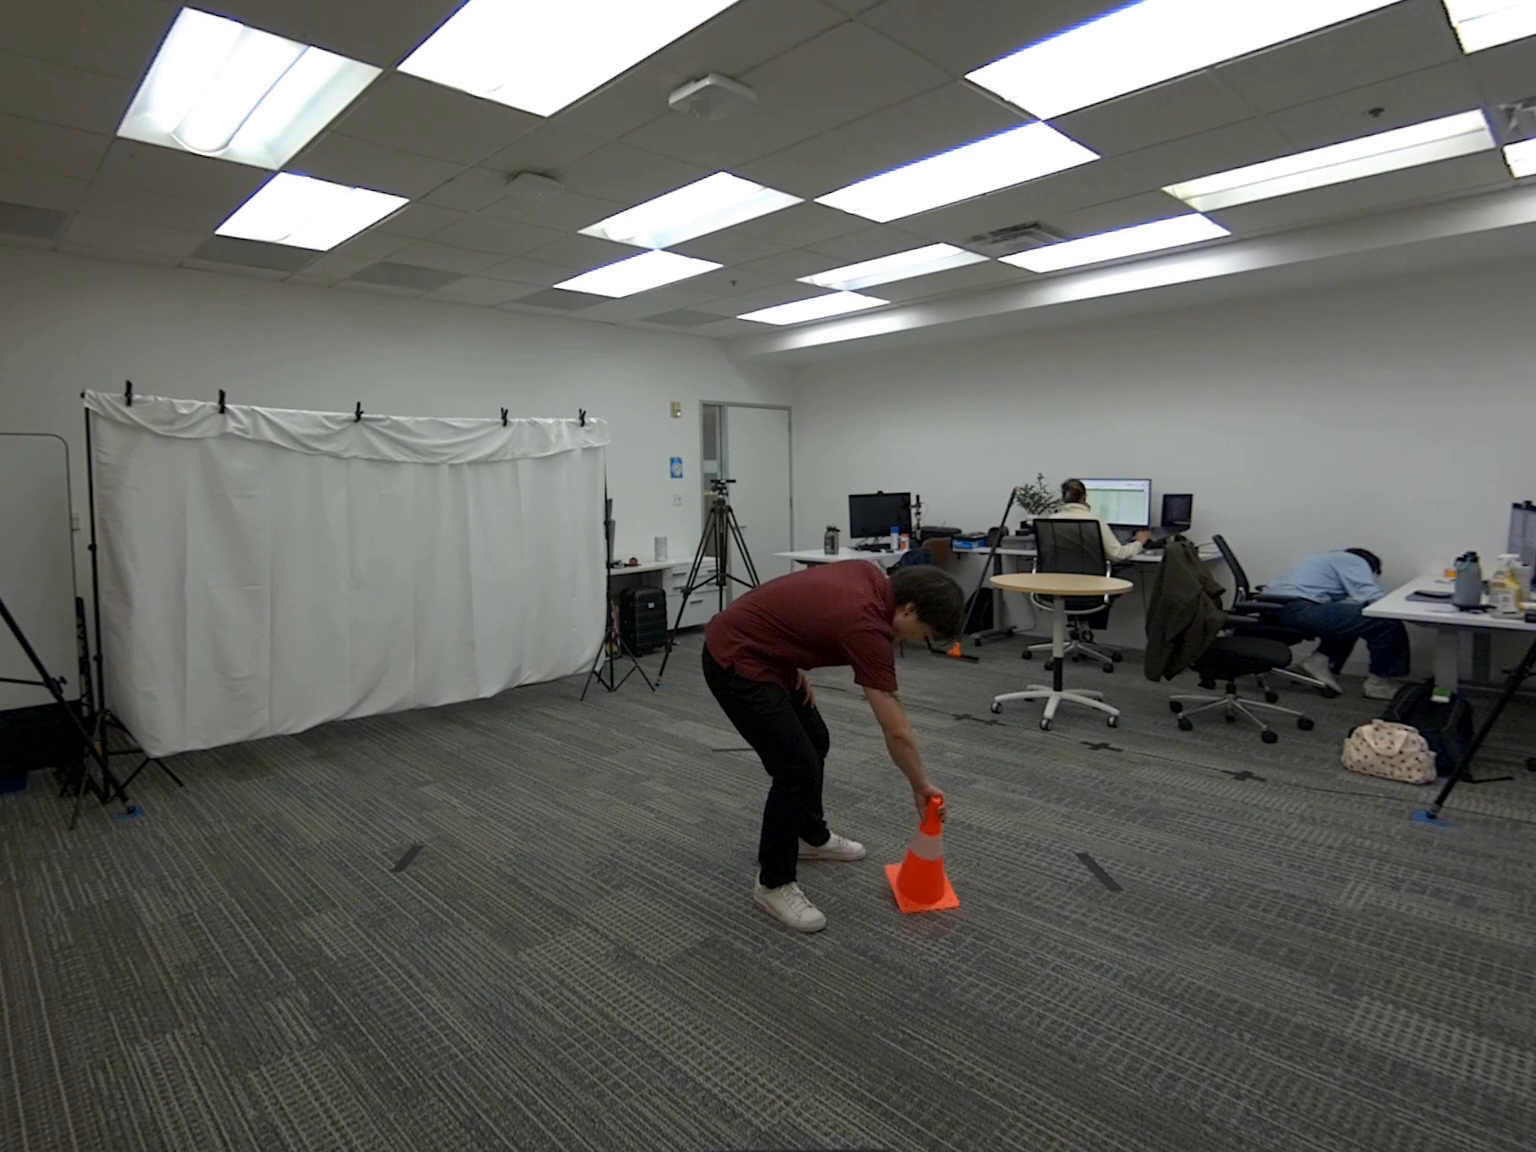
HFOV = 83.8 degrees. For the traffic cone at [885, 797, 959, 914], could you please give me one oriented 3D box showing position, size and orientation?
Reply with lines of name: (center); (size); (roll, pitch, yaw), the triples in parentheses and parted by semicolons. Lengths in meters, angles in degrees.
traffic cone: (0.519, 0.864, 2.759); (0.203, 0.376, 0.209); (-4, 26, -11)
